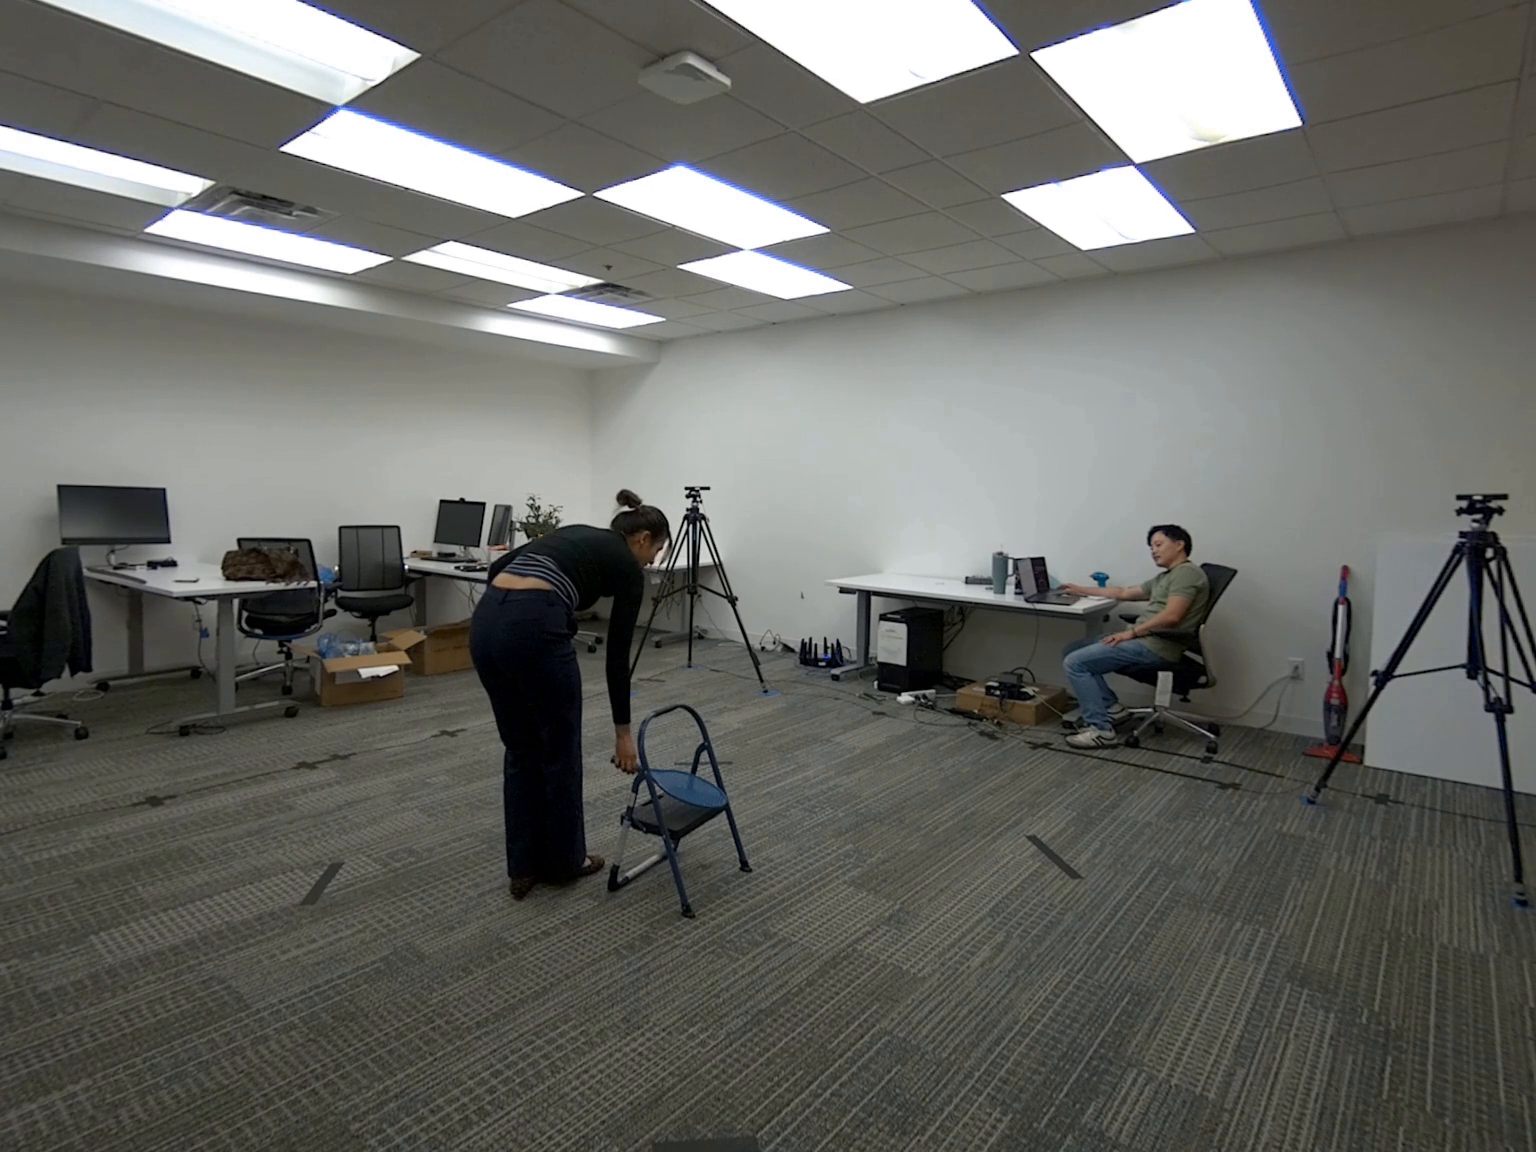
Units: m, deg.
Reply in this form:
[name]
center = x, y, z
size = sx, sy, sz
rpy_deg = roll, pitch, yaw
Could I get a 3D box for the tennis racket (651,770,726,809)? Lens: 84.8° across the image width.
[tennis racket]
center = -0.379, 0.736, 3.005
size = 0.432, 0.031, 0.215
rpy_deg = 17, 10, -1
